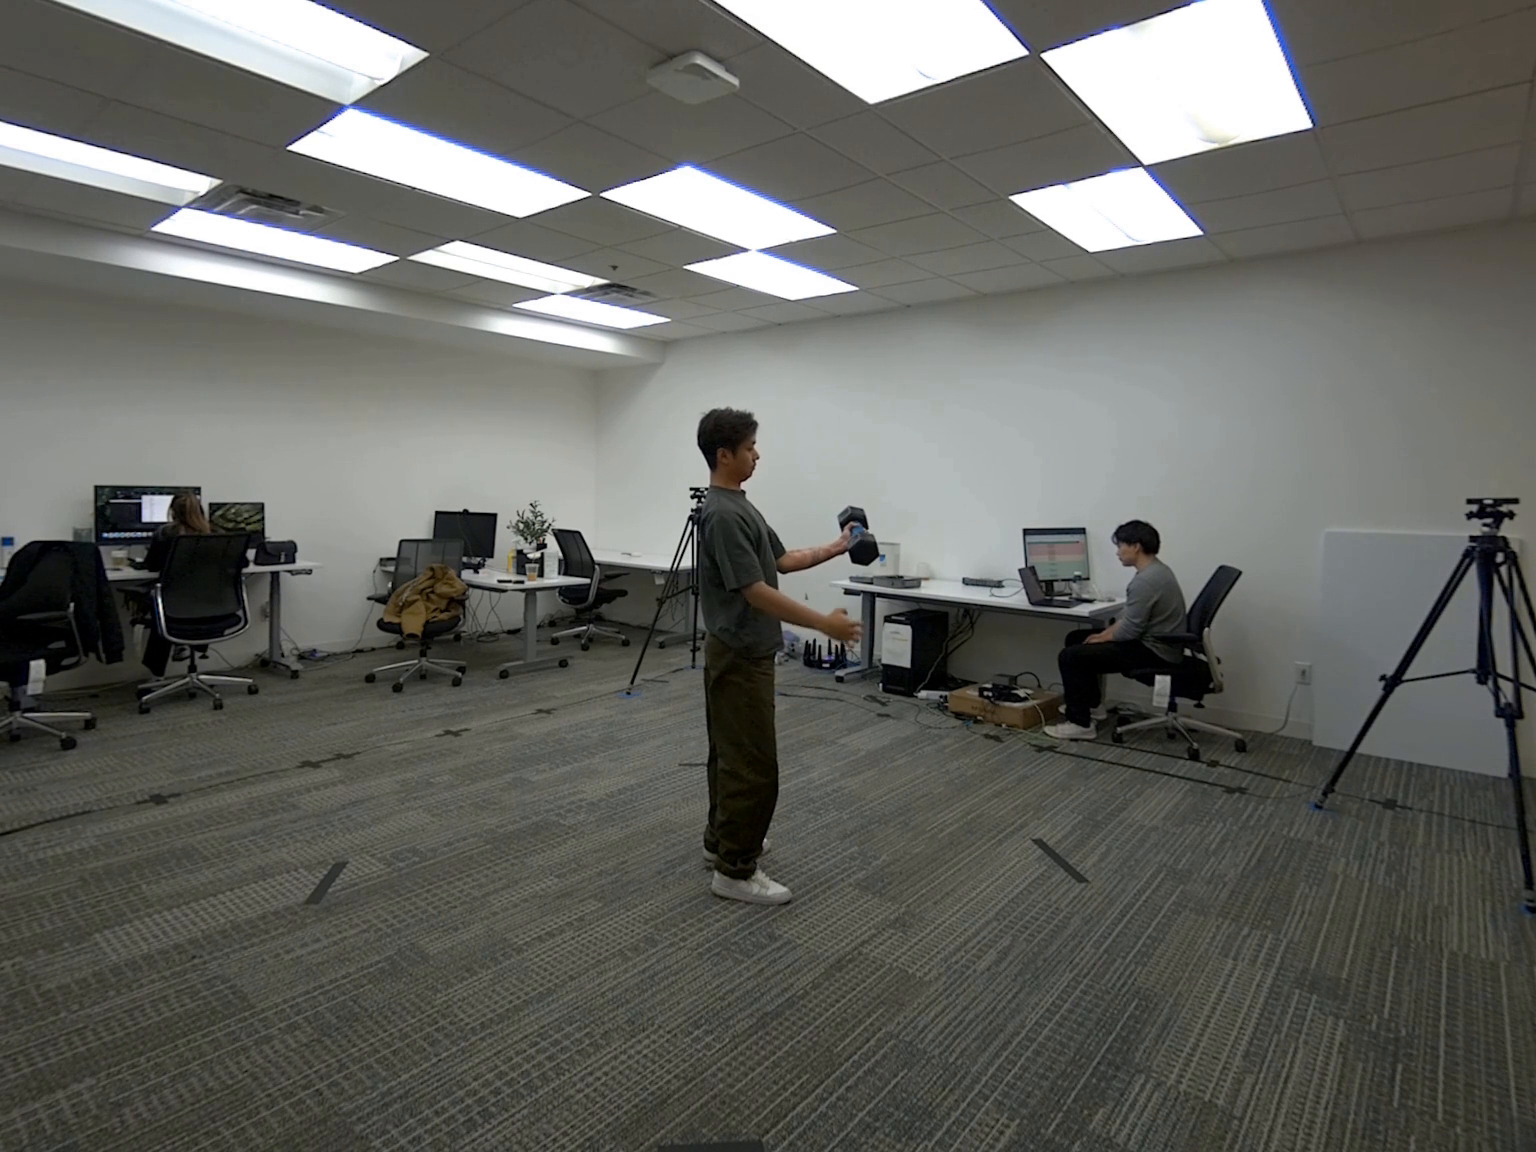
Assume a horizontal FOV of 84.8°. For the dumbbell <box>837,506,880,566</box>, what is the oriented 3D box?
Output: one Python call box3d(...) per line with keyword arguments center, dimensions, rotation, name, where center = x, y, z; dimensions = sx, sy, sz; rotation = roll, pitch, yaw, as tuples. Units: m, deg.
box3d(center=(0.333, -0.159, 3.241), dimensions=(0.109, 0.119, 0.302), rotation=(-14, 32, 4), name="dumbbell")
